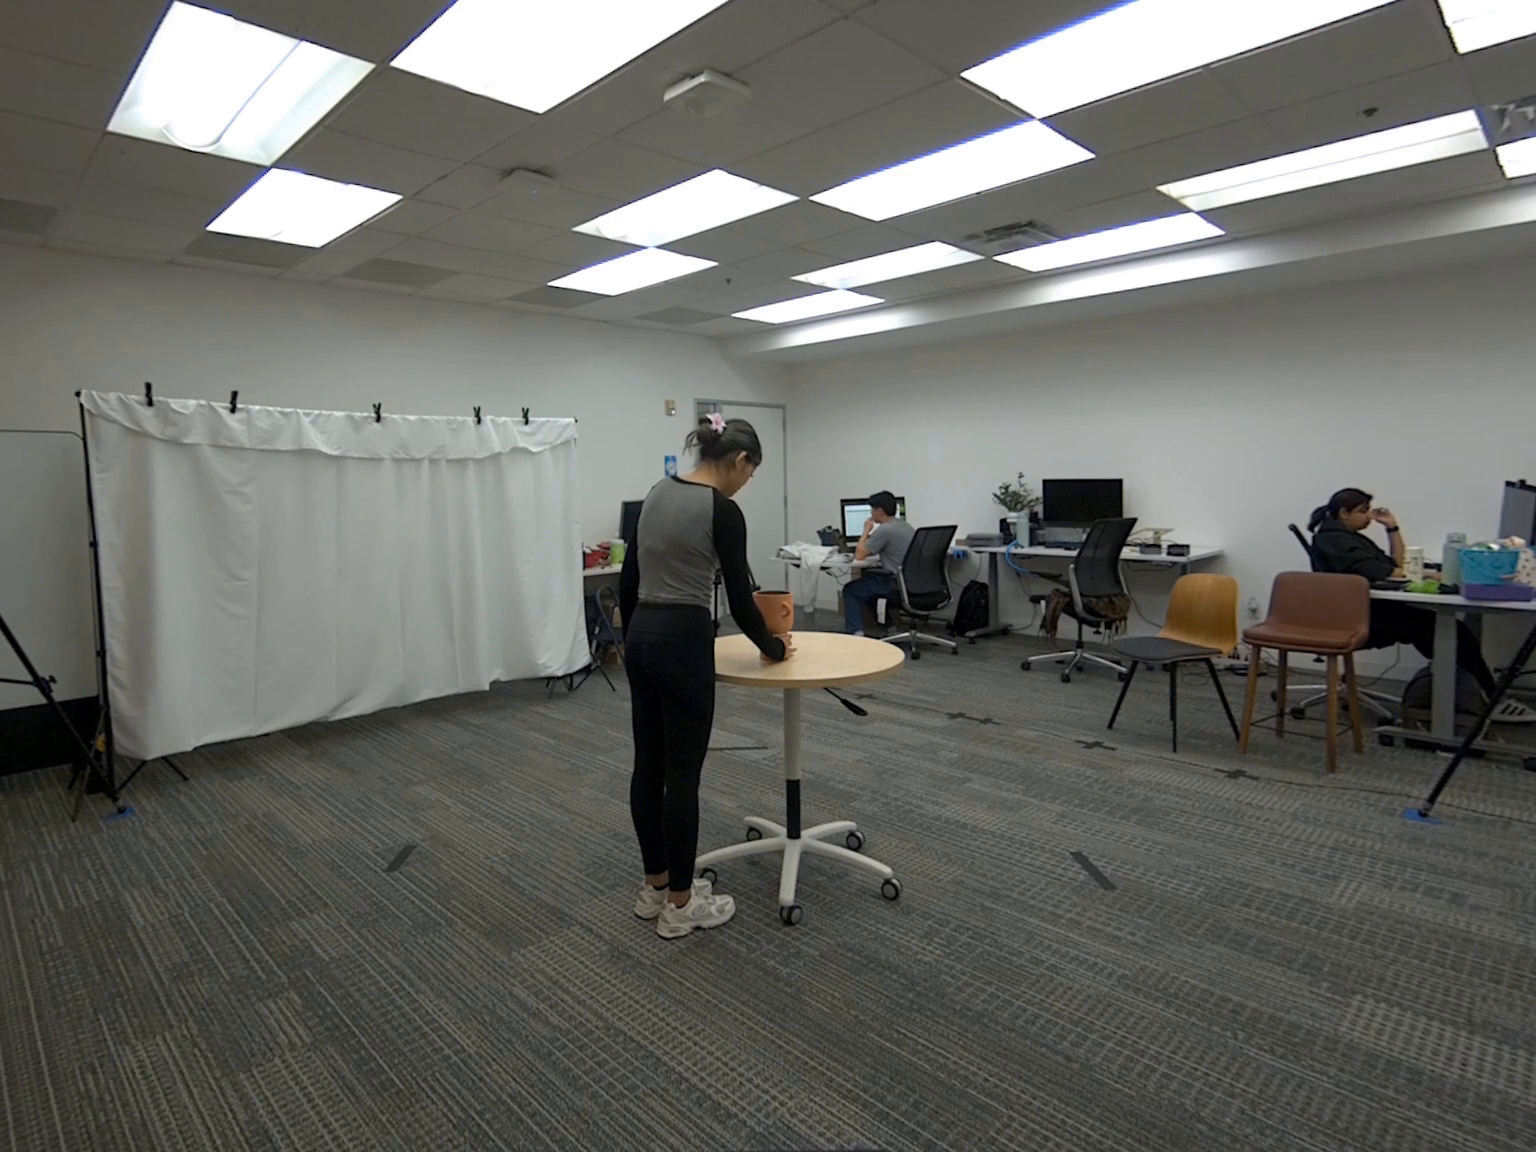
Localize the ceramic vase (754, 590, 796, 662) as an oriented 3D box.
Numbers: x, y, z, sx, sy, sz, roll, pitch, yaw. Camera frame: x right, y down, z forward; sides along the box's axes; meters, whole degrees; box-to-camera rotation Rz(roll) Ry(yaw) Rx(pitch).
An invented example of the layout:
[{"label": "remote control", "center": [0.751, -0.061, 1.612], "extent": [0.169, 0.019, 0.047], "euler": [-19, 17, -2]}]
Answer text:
[{"label": "ceramic vase", "center": [0.023, 0.166, 2.861], "extent": [0.136, 0.219, 0.158], "euler": [0, 5, 9]}]
